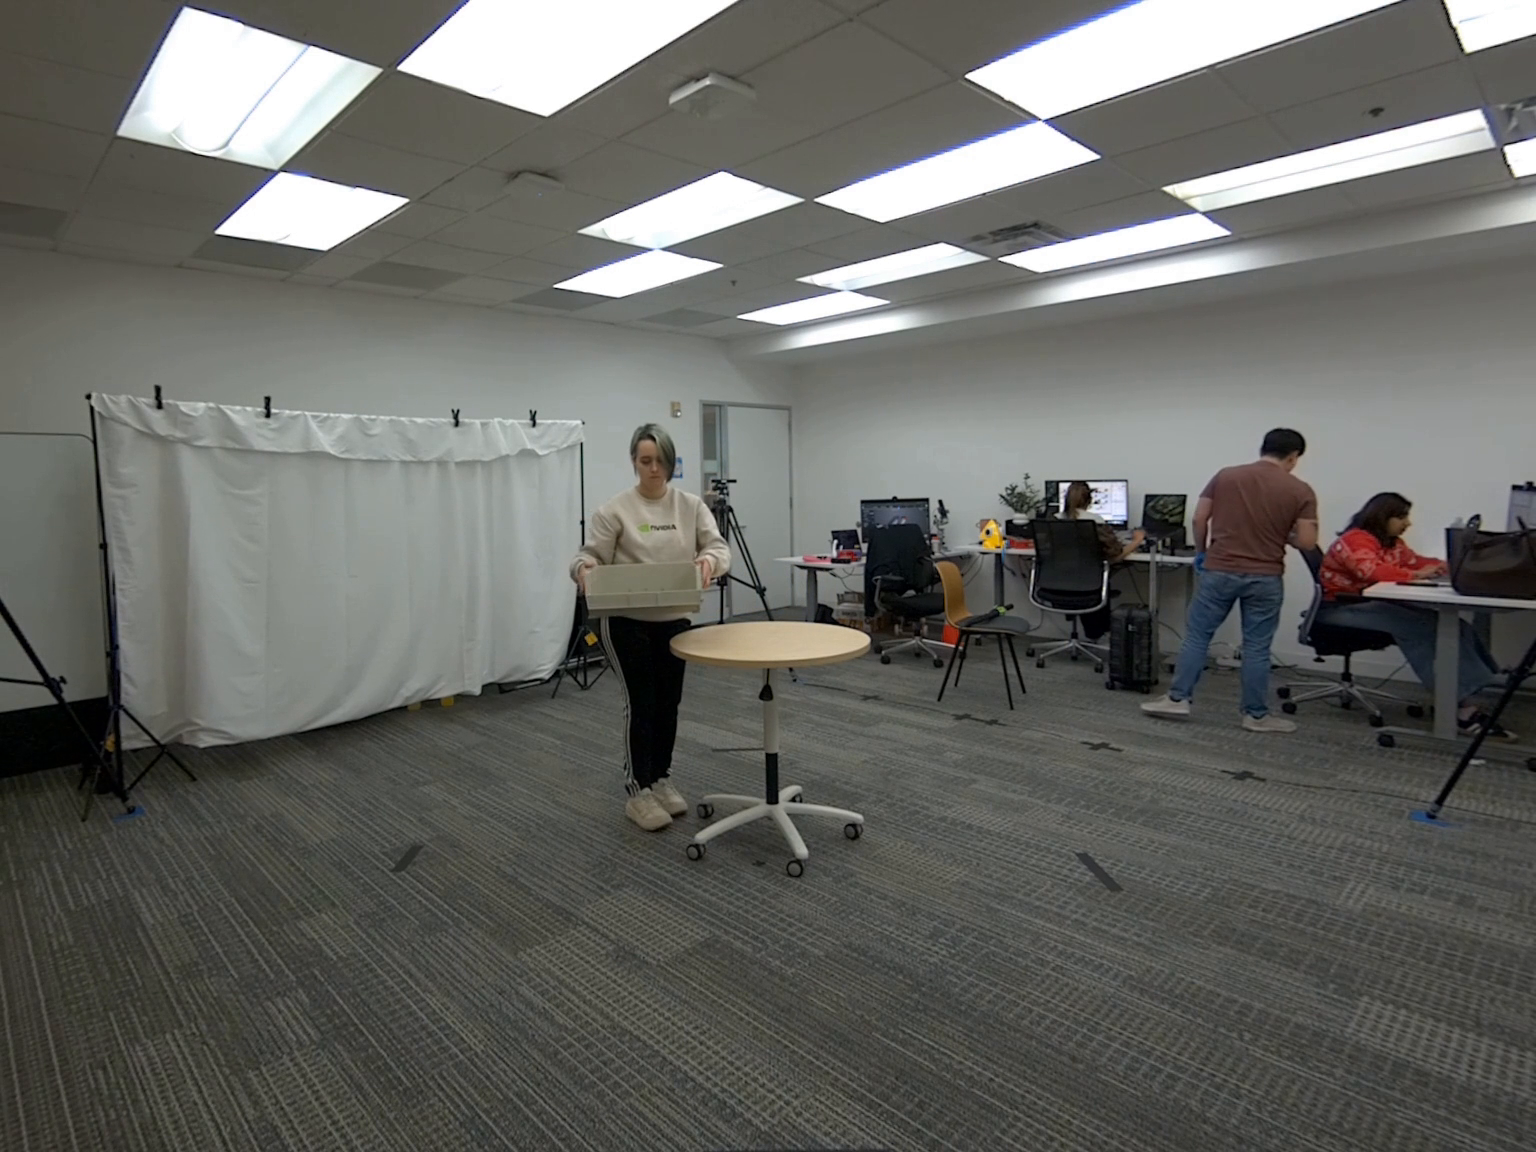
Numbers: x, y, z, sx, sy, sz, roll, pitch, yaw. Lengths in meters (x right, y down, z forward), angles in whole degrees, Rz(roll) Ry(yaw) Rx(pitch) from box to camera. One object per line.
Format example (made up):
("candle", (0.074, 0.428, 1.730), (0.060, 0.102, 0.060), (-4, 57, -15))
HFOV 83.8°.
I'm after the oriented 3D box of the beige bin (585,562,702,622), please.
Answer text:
("beige bin", (-0.474, 0.055, 3.233), (0.420, 0.189, 0.380), (-3, 3, -7))
